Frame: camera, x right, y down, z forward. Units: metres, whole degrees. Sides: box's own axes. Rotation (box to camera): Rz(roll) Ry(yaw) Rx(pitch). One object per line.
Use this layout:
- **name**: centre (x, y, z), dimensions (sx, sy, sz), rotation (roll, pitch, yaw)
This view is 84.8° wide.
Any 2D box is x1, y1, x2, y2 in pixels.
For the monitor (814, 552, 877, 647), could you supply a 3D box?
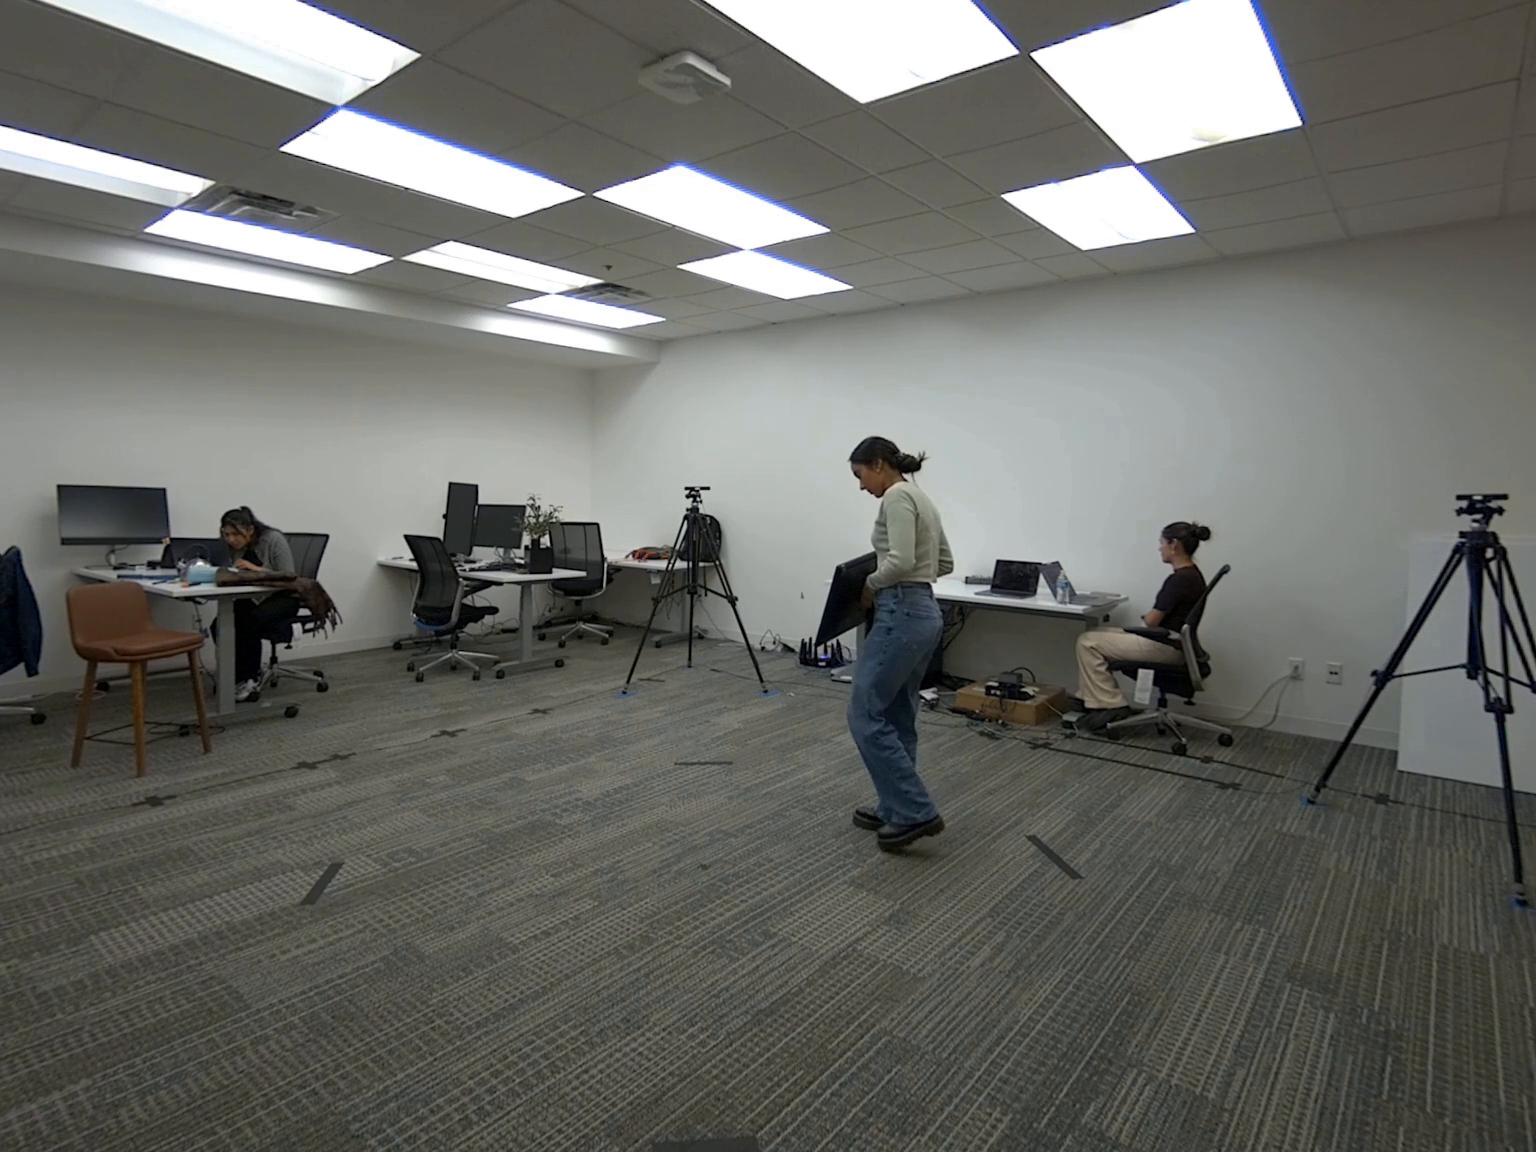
- **monitor**: centre (0.377, 0.150, 3.507), dimensions (0.180, 0.511, 0.520), rotation (2, 13, 33)
